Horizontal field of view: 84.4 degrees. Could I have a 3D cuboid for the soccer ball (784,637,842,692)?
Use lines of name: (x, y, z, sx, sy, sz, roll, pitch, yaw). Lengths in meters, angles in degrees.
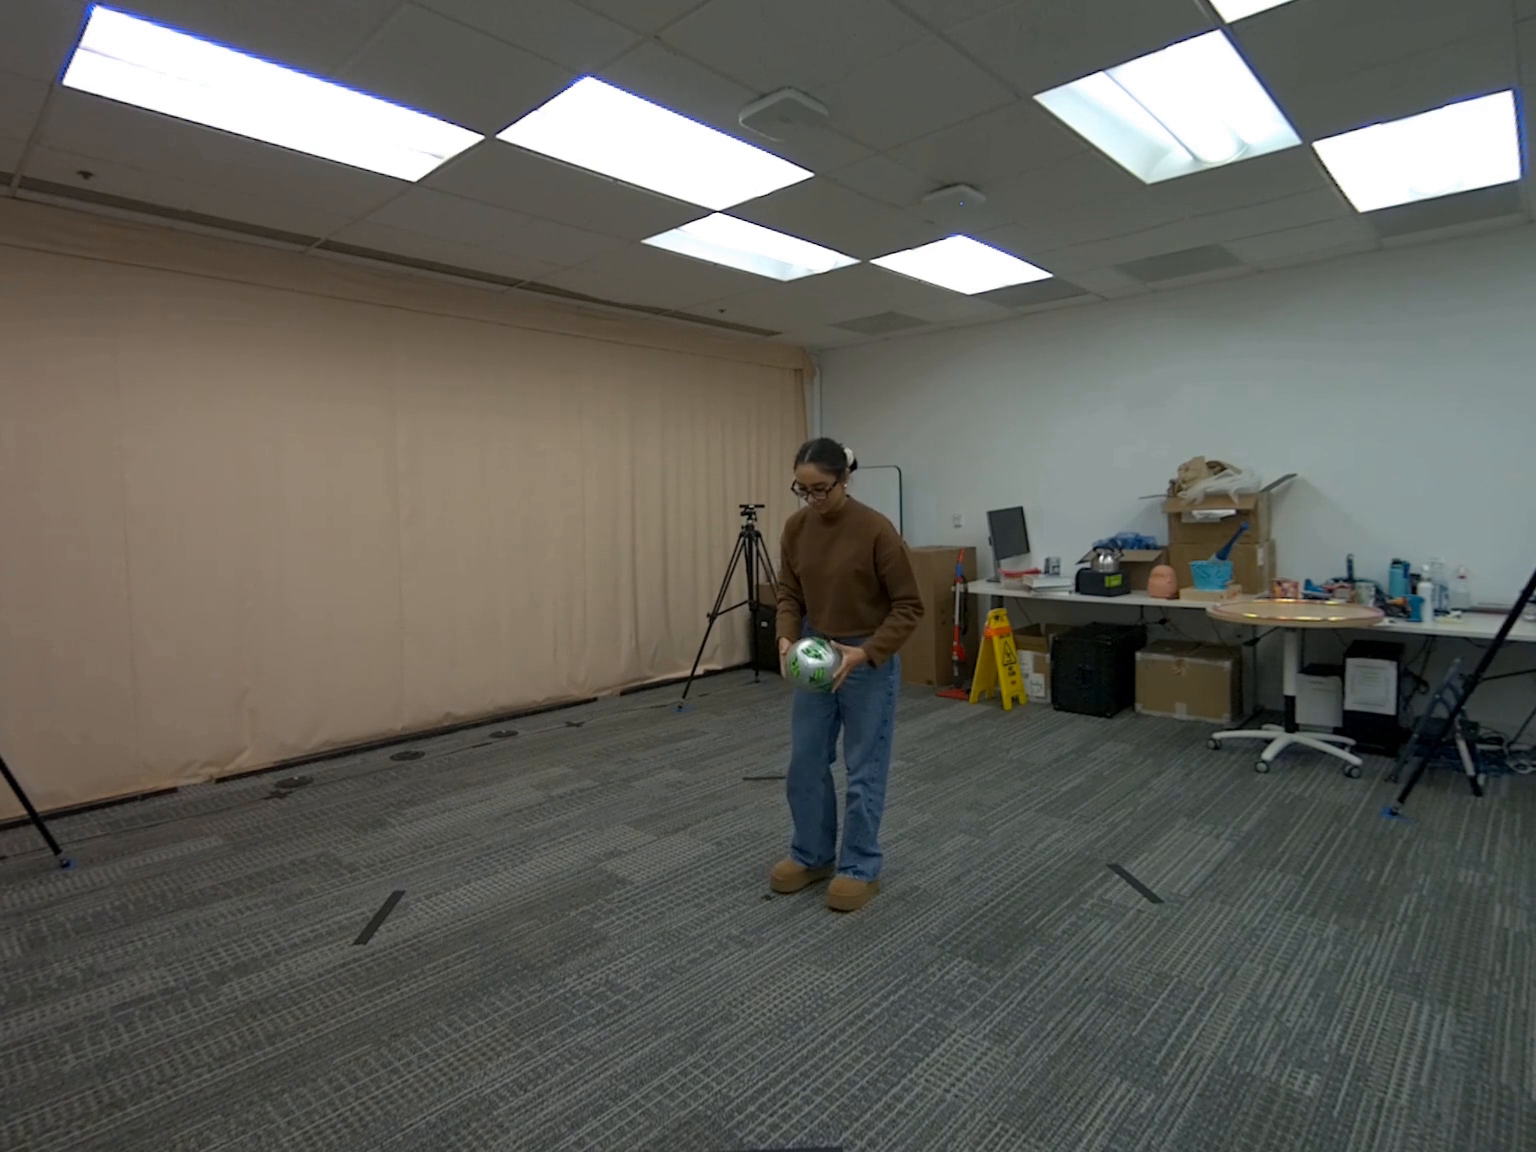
soccer ball: (0.132, 0.280, 2.764, 0.187, 0.187, 0.188, -1, 4, -2)
